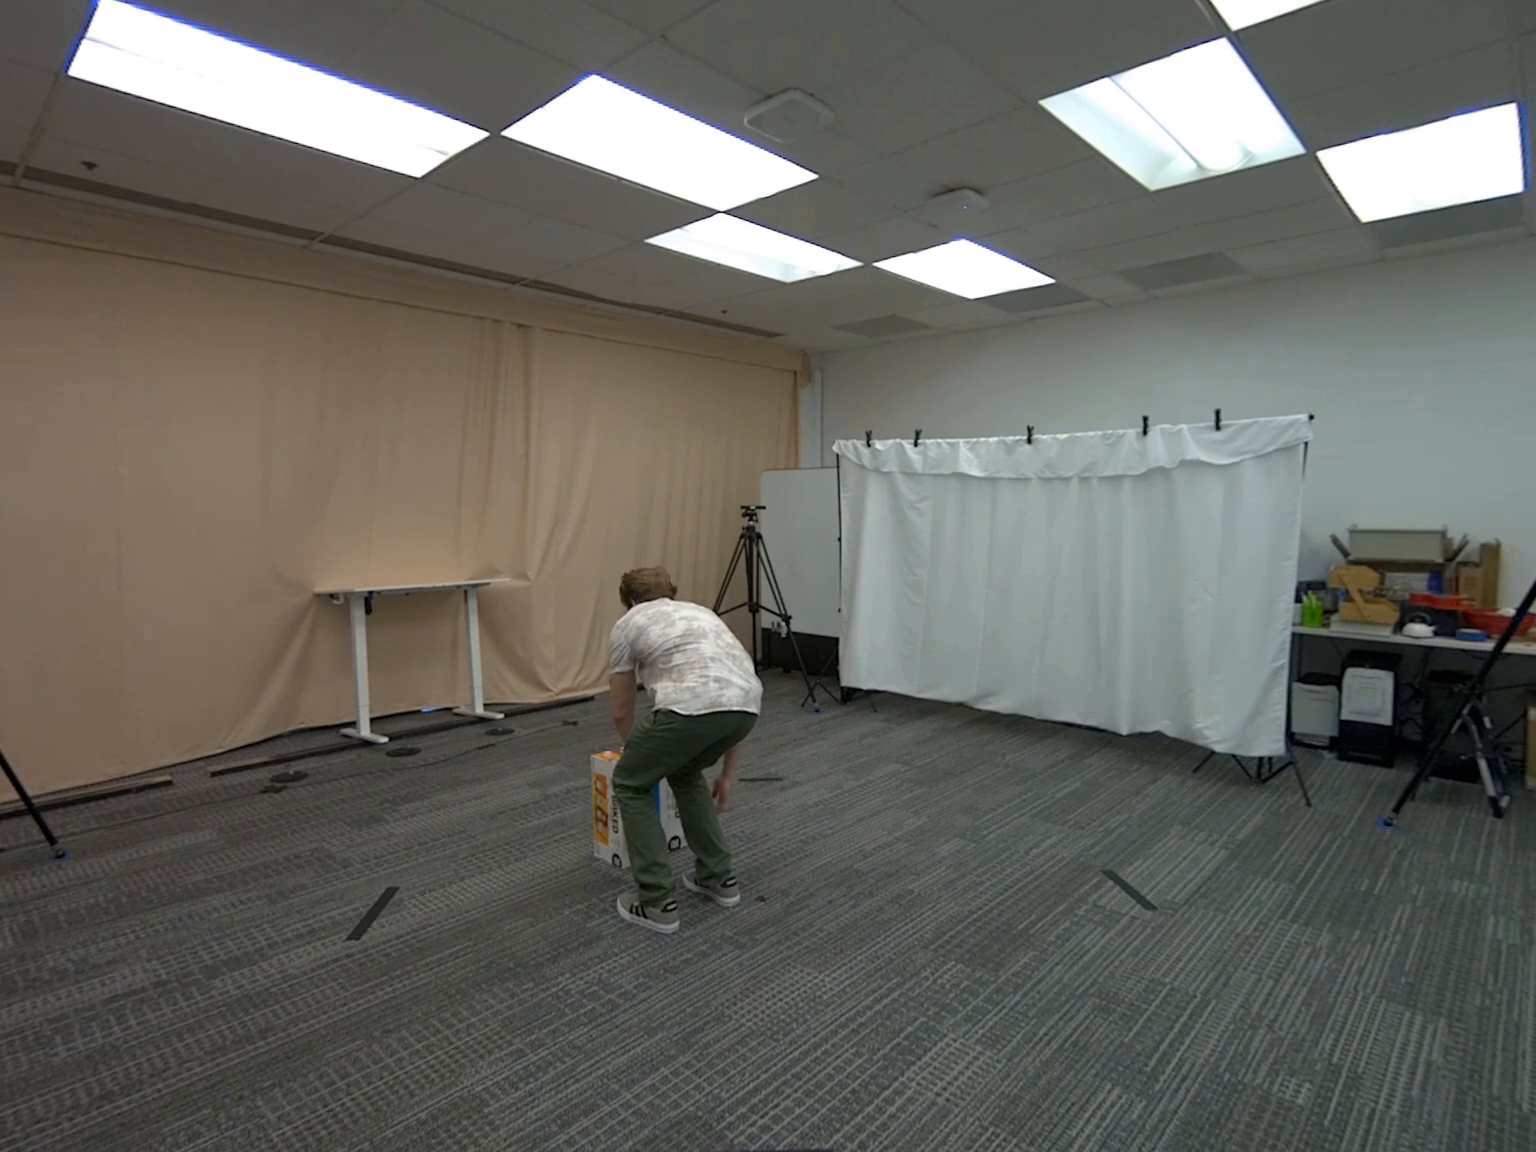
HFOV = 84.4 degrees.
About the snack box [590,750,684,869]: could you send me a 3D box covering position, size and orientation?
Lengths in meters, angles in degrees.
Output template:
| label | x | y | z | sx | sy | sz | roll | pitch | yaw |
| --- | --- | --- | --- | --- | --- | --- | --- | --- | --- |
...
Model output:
| label | x | y | z | sx | sy | sz | roll | pitch | yaw |
| --- | --- | --- | --- | --- | --- | --- | --- | --- | --- |
| snack box | -0.518 | 0.910 | 3.408 | 0.330 | 0.404 | 0.212 | -4 | 4 | -44 |
